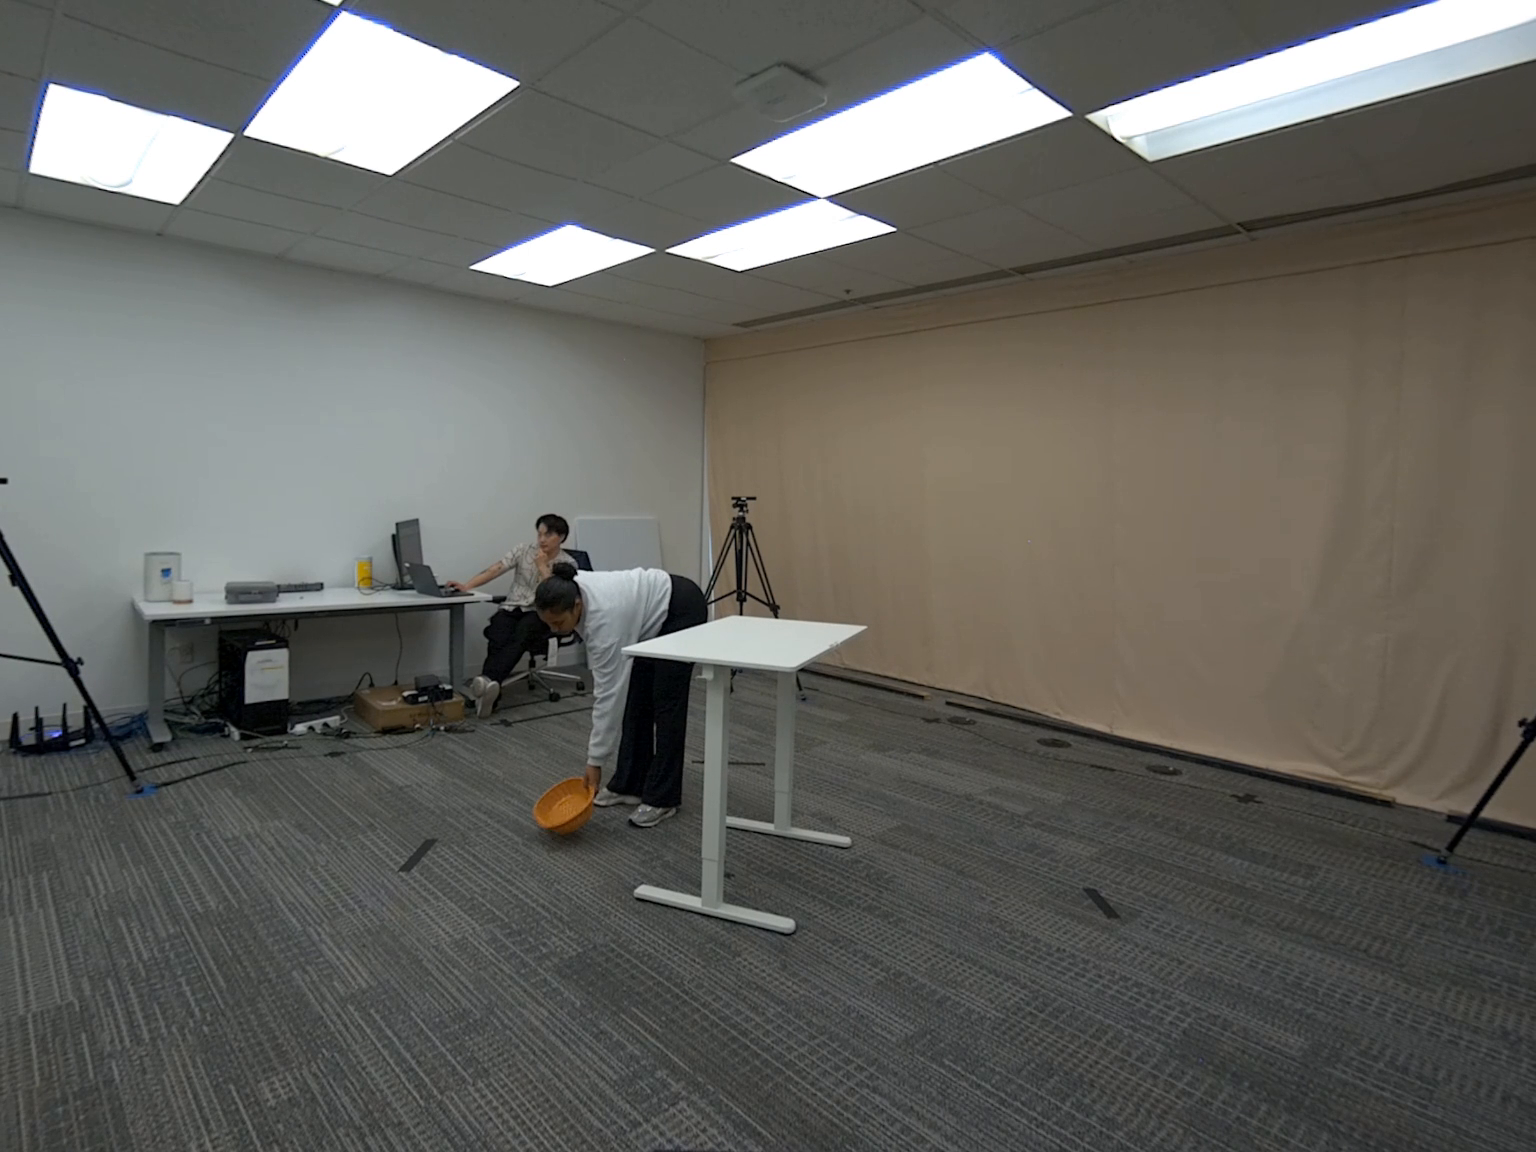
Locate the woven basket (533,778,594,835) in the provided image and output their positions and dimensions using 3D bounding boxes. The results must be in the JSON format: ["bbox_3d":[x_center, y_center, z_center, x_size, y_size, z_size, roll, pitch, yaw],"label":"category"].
[{"bbox_3d":[-0.833,0.953,3.421,0.251,0.072,0.358,-31,19,-20],"label":"woven basket"}]
